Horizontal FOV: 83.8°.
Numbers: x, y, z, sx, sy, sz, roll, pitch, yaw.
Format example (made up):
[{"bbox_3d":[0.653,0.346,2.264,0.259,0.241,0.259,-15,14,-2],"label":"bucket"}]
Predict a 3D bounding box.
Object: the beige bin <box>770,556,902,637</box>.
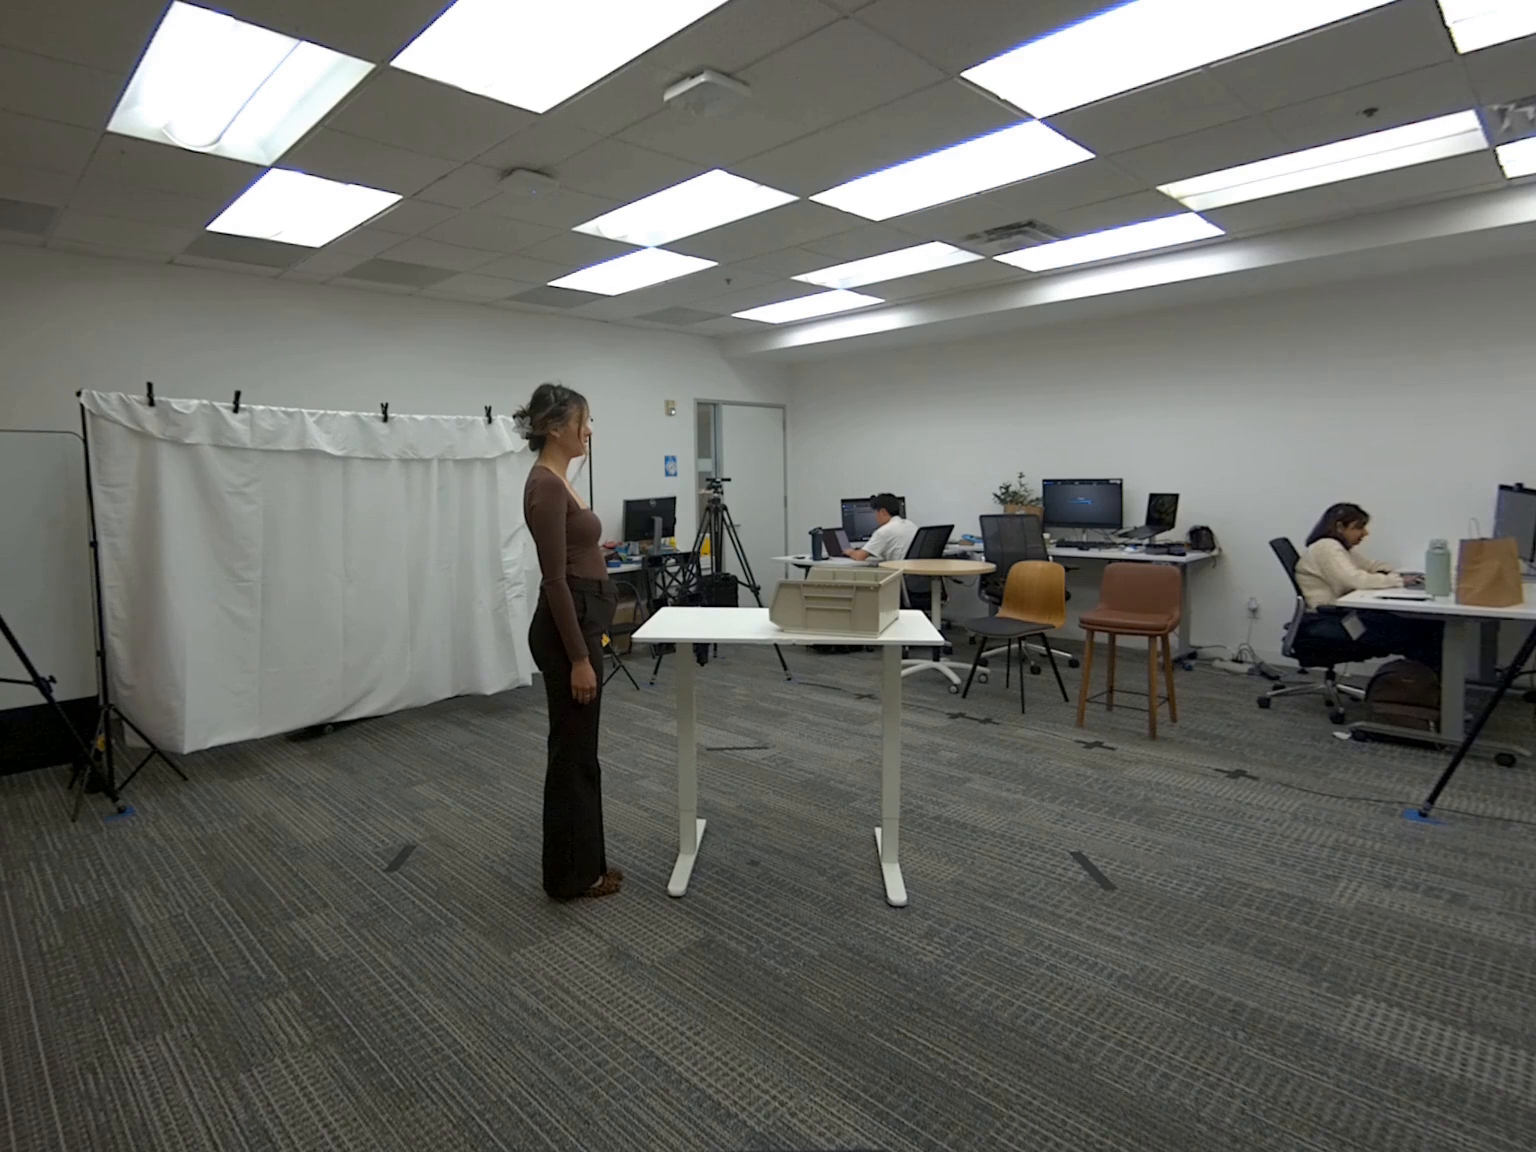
[{"bbox_3d":[0.247,0.084,2.970,0.385,0.188,0.416,3,7,19],"label":"beige bin"}]
